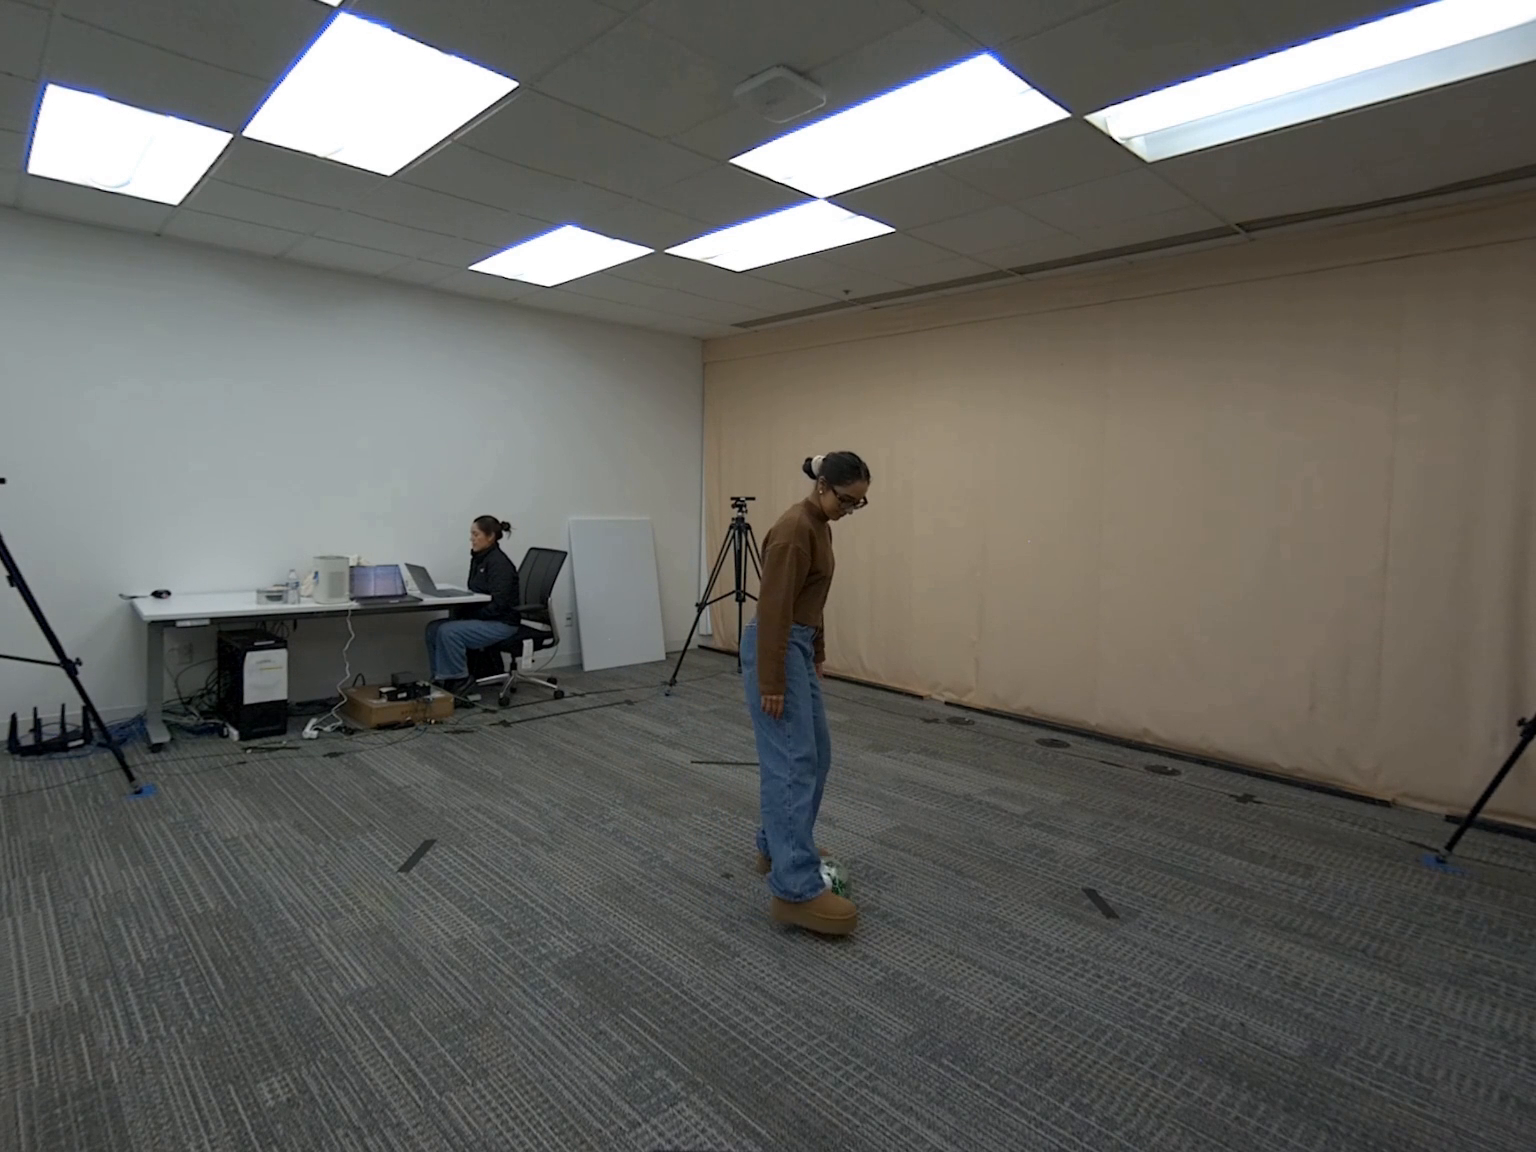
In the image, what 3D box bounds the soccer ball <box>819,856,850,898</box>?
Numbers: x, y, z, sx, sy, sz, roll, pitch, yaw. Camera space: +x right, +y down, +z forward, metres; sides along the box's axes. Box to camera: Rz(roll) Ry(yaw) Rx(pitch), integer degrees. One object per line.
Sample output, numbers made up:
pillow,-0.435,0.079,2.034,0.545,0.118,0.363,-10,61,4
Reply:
soccer ball,0.186,1.048,2.845,0.187,0.187,0.188,1,4,-1
